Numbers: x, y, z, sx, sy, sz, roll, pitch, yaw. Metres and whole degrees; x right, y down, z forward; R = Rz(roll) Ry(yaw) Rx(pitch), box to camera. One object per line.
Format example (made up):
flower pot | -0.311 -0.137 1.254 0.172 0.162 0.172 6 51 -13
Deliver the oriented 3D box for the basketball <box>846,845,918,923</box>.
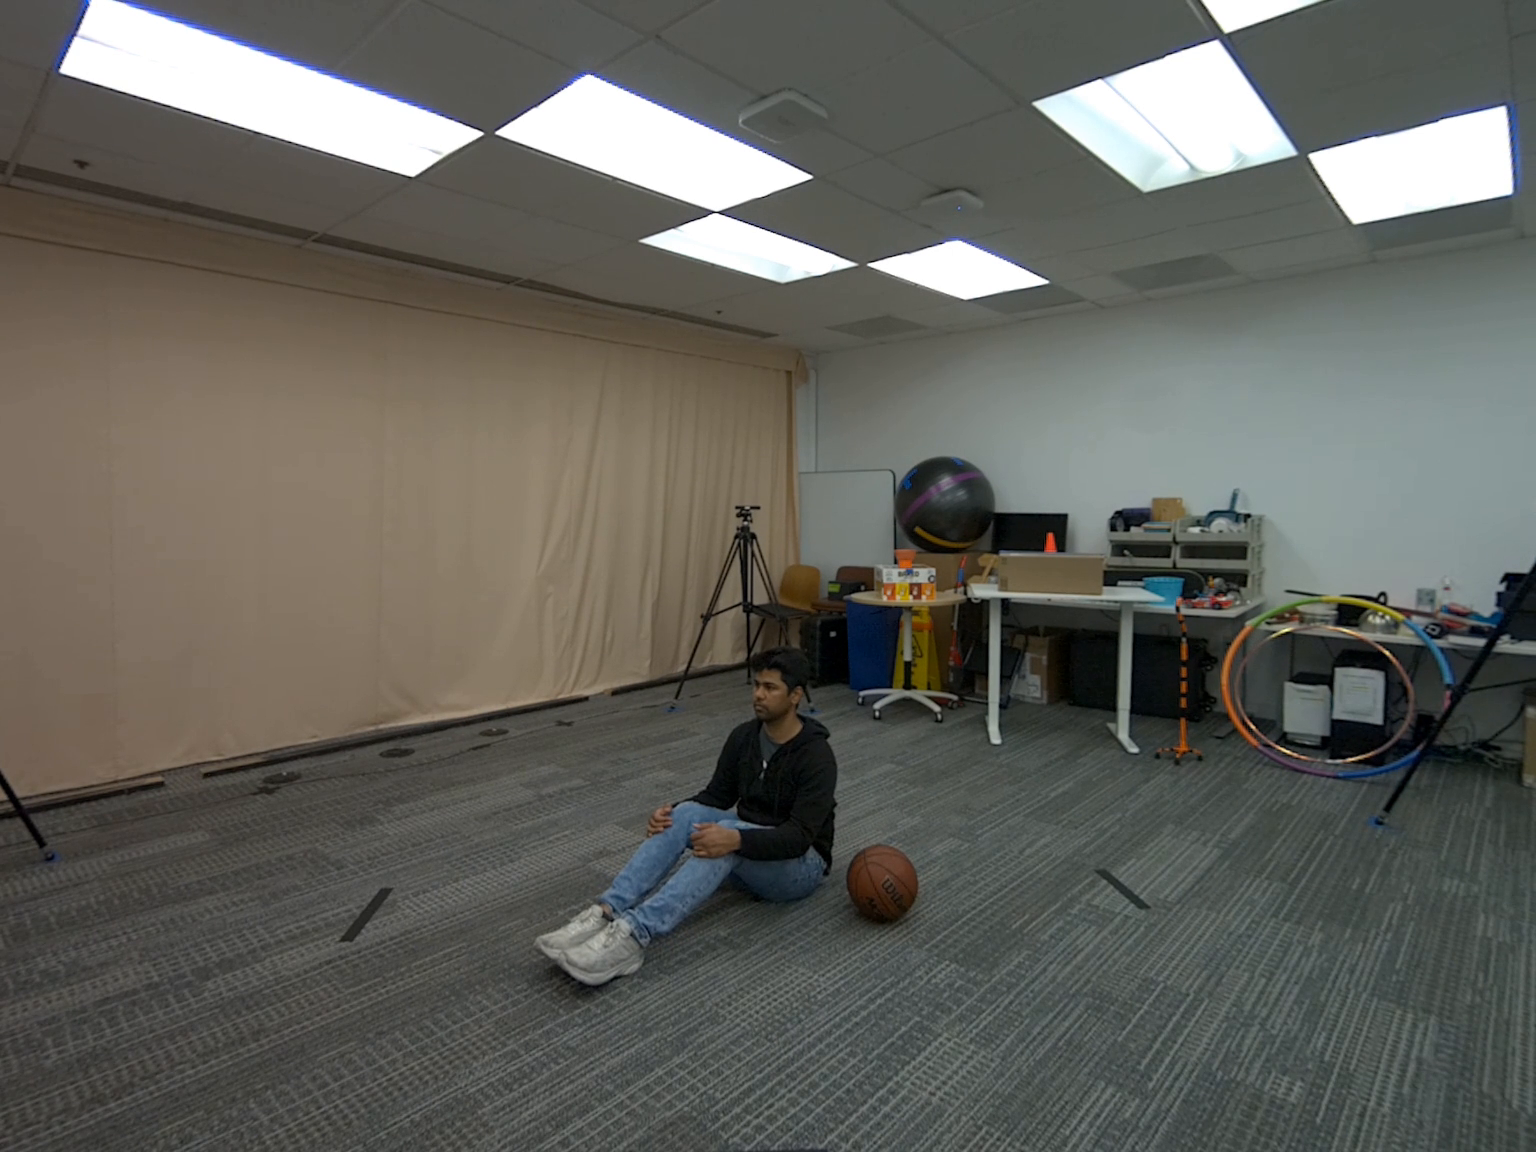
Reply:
basketball | 0.391 1.036 2.841 0.236 0.235 0.237 0 4 -2
